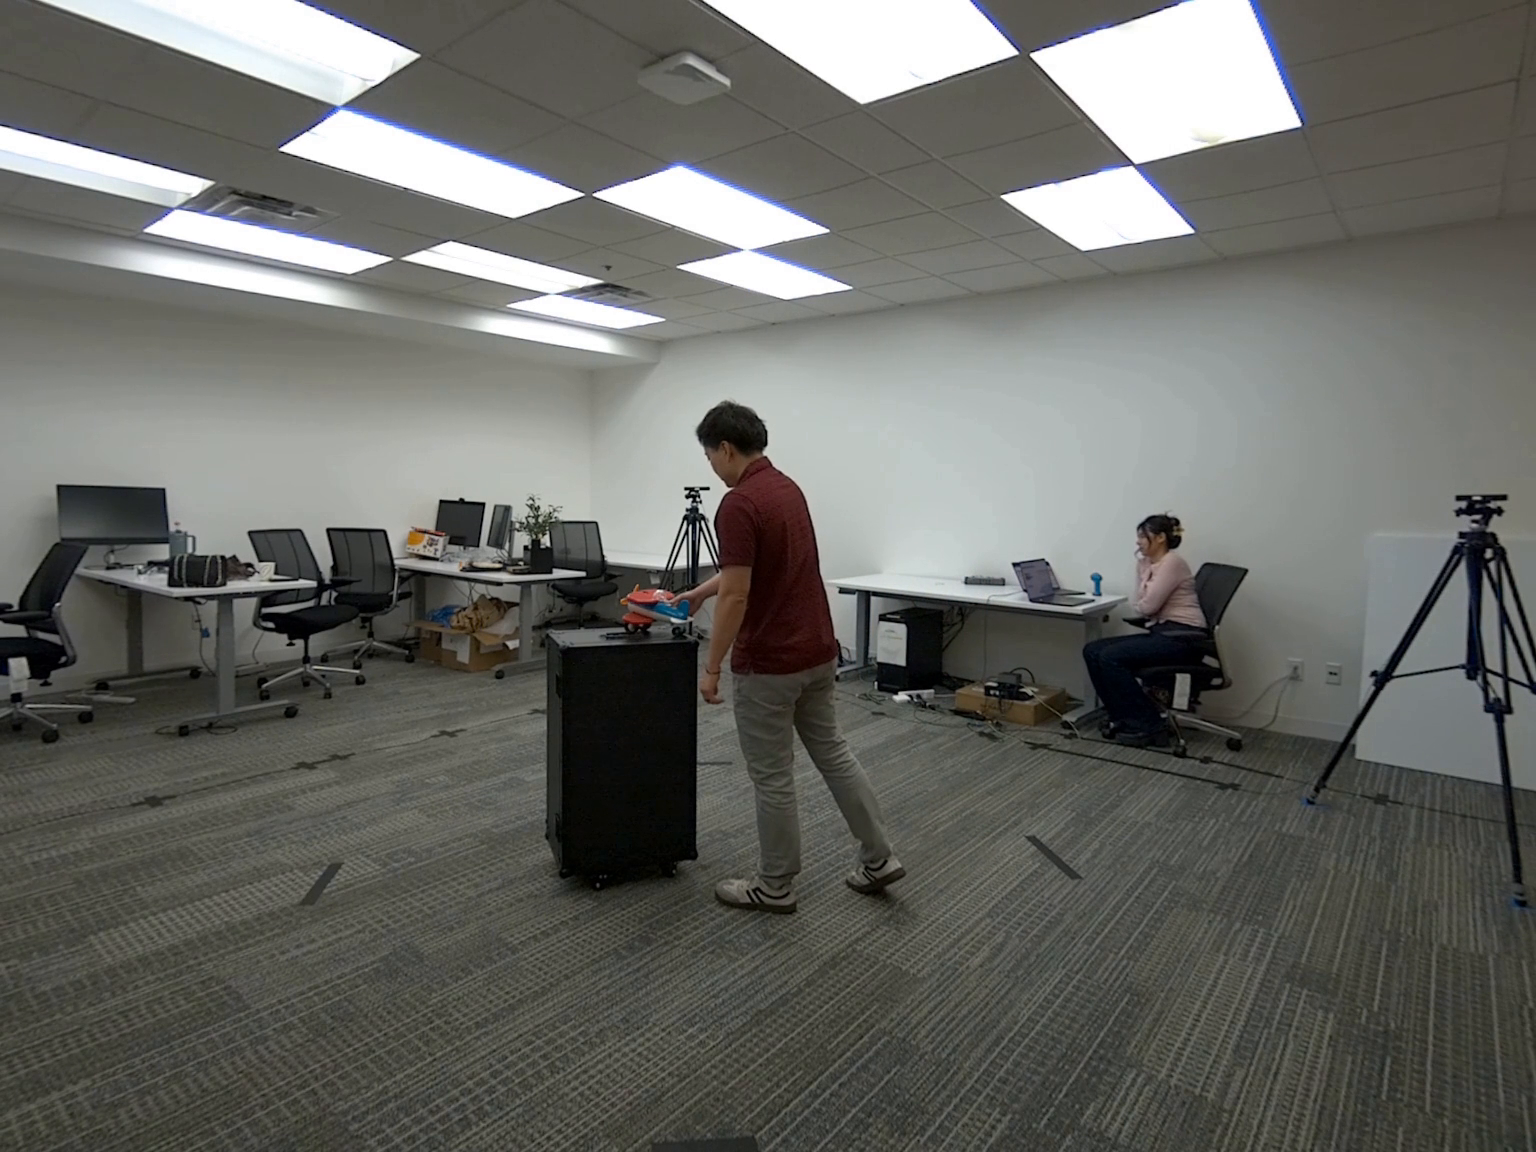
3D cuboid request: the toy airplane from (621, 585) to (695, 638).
[{"bbox_3d":[-0.407,0.128,3.149,0.259,0.156,0.253,-1,5,-3],"label":"toy airplane"}]
